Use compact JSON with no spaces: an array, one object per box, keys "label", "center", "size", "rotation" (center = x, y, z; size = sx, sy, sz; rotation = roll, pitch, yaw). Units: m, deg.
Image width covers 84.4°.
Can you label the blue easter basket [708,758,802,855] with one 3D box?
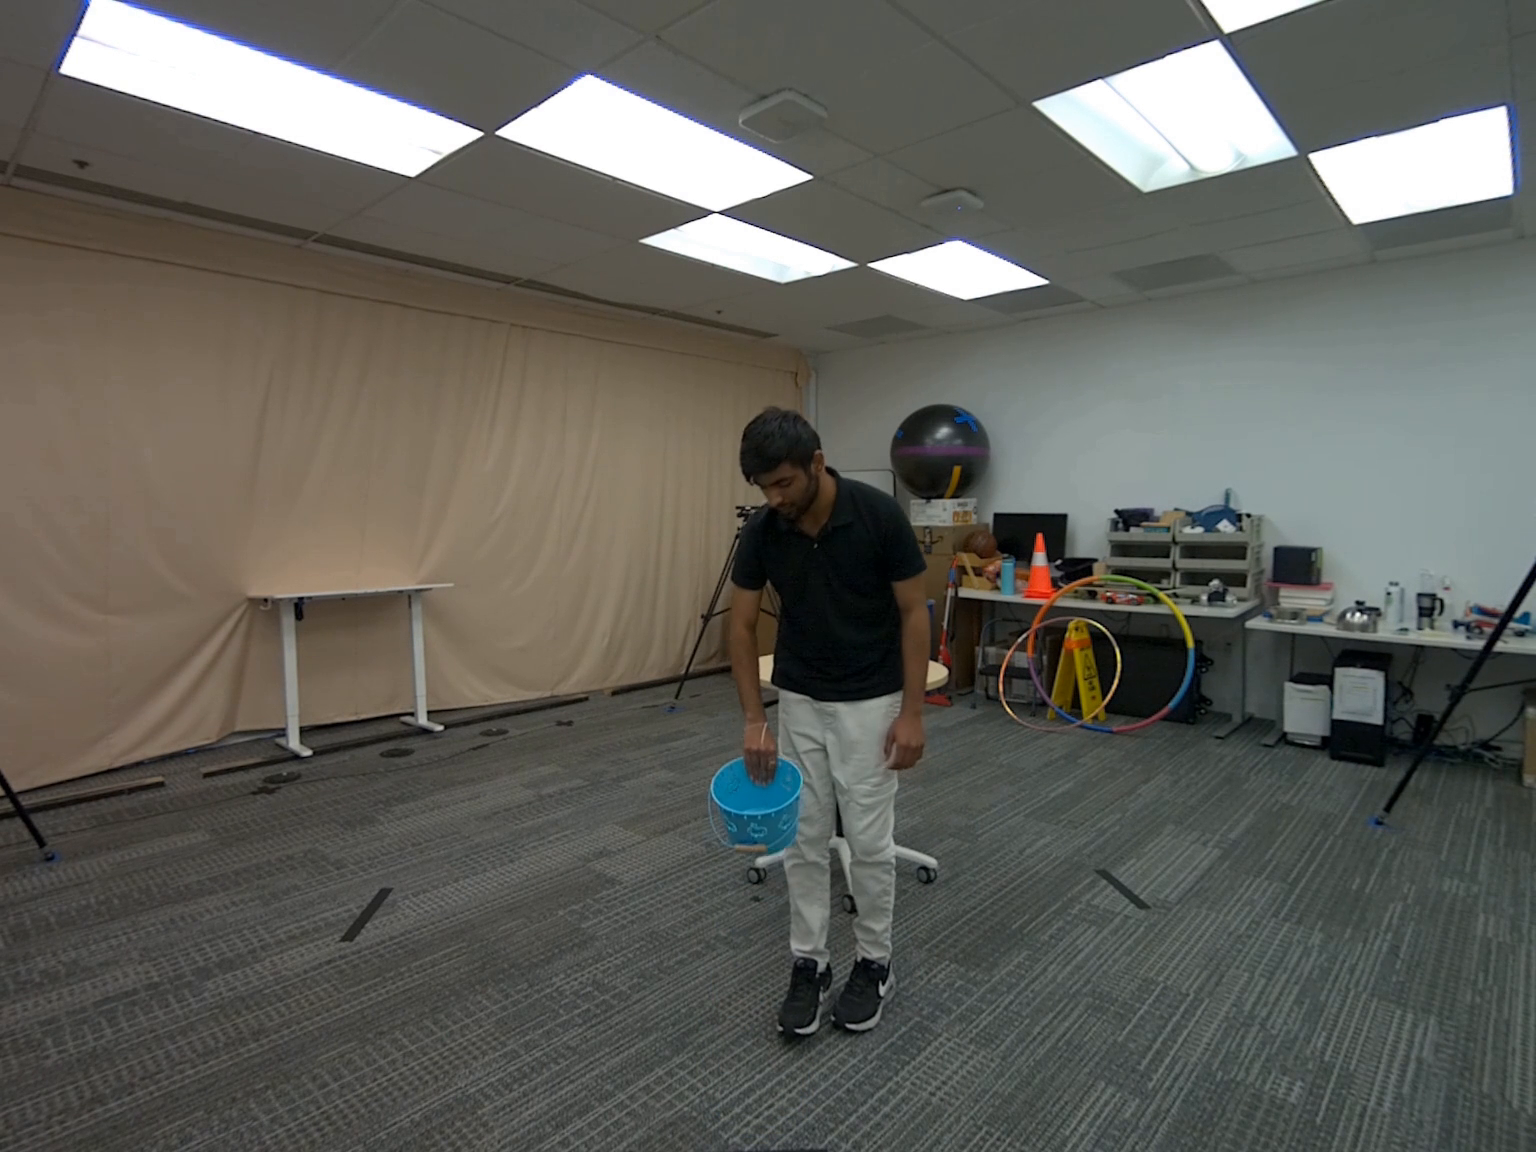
[{"label":"blue easter basket","center":[-0.023,0.591,2.120],"size":[0.244,0.154,0.247],"rotation":[-6,20,0]}]
